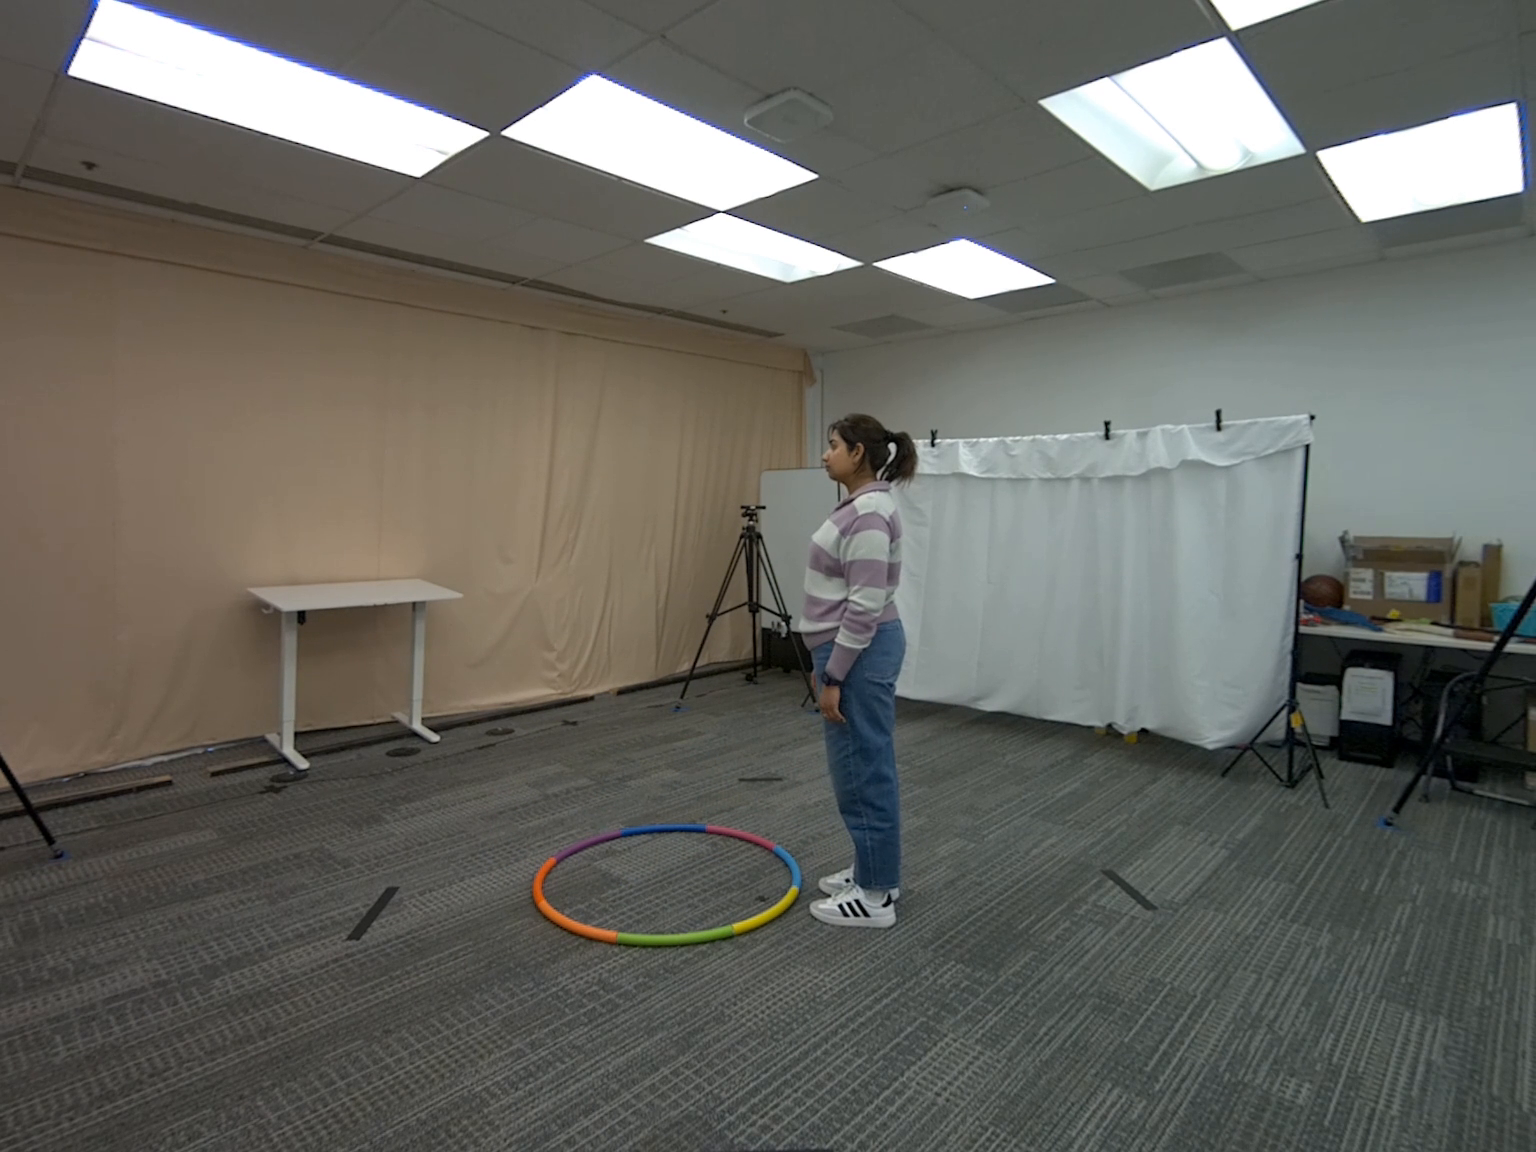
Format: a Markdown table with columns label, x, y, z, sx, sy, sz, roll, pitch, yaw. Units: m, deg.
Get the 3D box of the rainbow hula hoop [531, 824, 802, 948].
| label | x | y | z | sx | sy | sz | roll | pitch | yaw |
| --- | --- | --- | --- | --- | --- | --- | --- | --- | --- |
| rainbow hula hoop | -0.365 | 1.101 | 3.131 | 0.978 | 0.035 | 0.982 | -1 | 4 | -2 |
